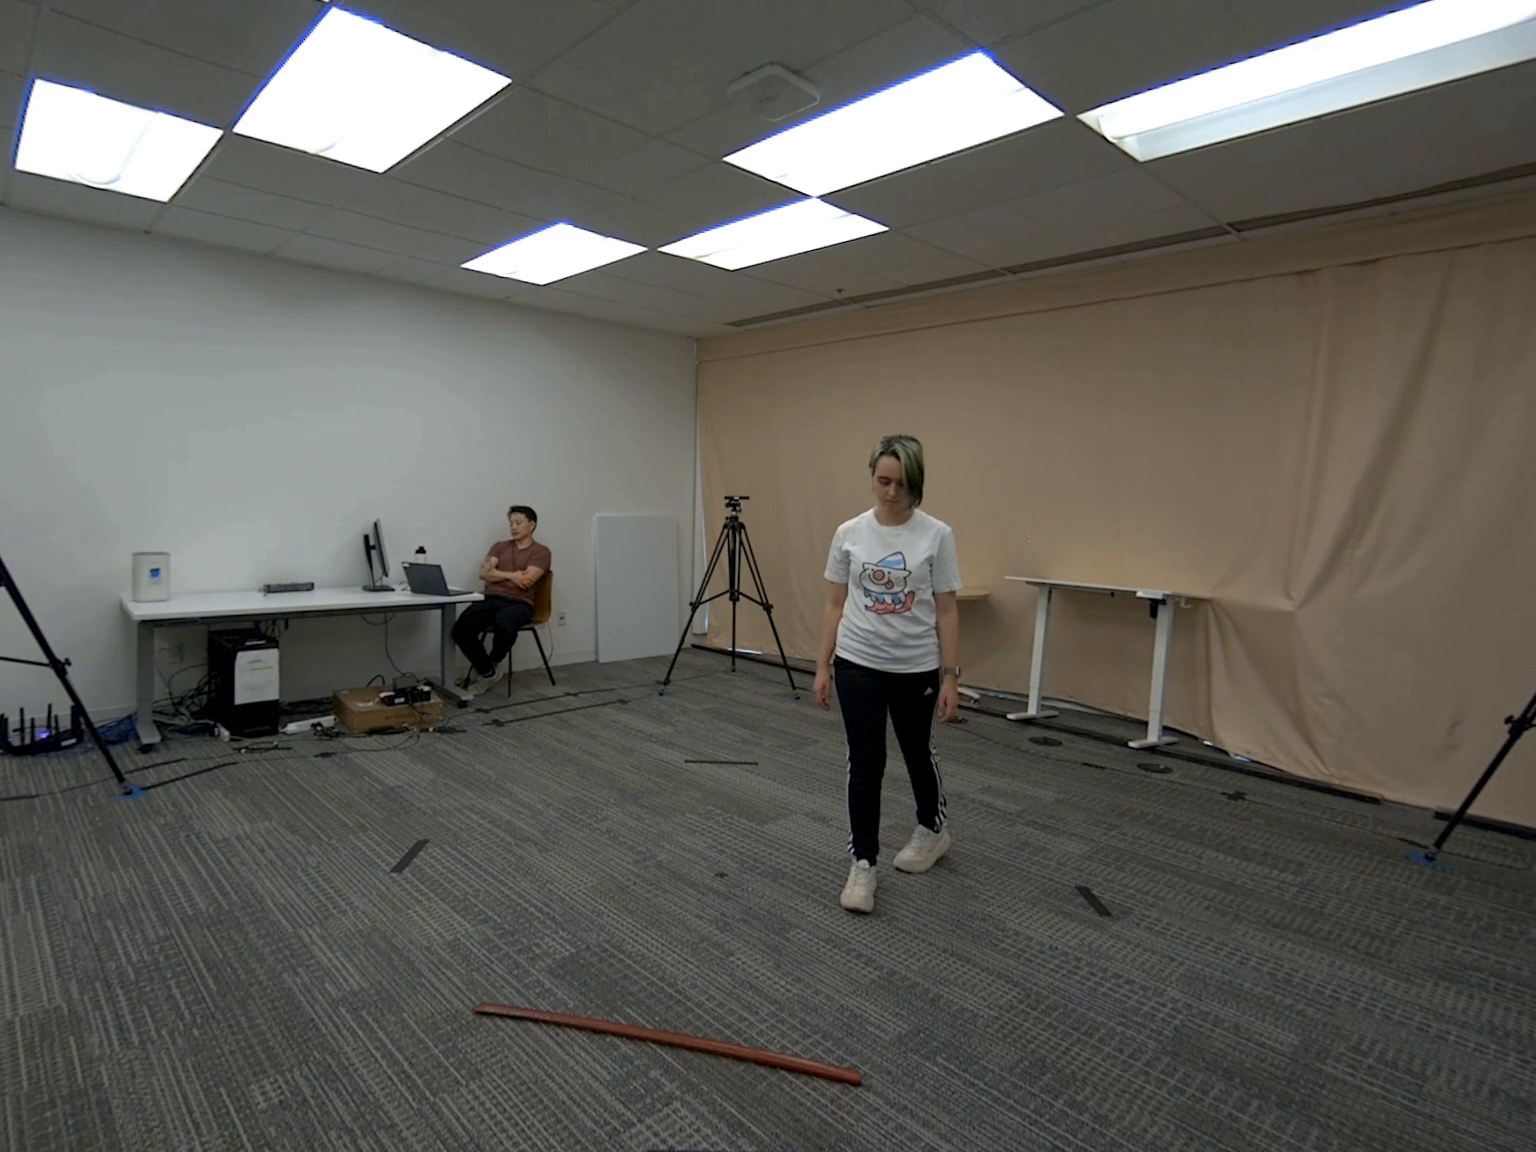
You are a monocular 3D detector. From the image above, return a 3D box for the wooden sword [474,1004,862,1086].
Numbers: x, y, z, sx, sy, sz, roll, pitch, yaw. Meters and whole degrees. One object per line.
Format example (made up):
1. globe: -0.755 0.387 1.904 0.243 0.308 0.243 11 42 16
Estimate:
1. wooden sword: -0.274 1.167 2.151 1.035 0.050 0.024 3 34 13
